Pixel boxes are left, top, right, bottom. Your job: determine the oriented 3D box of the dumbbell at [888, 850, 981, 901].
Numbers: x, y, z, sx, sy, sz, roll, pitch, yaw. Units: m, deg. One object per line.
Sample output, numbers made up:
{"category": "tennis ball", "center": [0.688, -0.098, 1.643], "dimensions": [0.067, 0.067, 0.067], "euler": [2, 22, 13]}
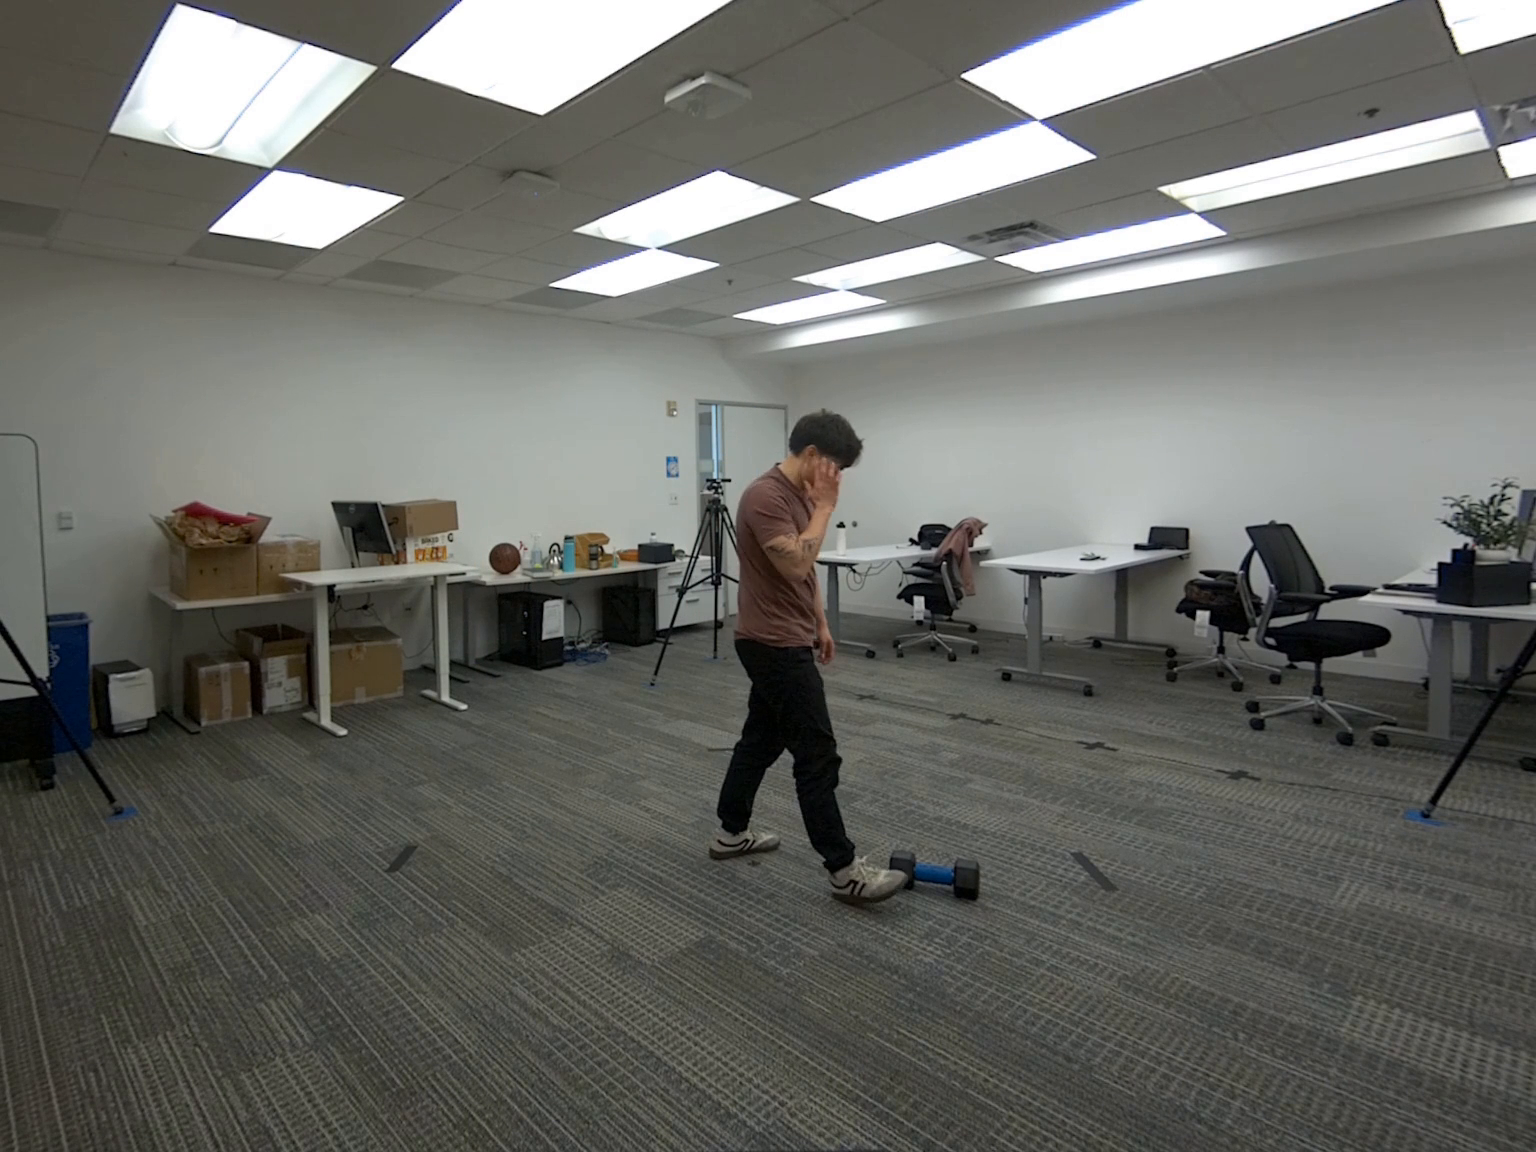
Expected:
{"category": "dumbbell", "center": [0.565, 1.006, 2.883], "dimensions": [0.299, 0.119, 0.110], "euler": [1, 35, 21]}
